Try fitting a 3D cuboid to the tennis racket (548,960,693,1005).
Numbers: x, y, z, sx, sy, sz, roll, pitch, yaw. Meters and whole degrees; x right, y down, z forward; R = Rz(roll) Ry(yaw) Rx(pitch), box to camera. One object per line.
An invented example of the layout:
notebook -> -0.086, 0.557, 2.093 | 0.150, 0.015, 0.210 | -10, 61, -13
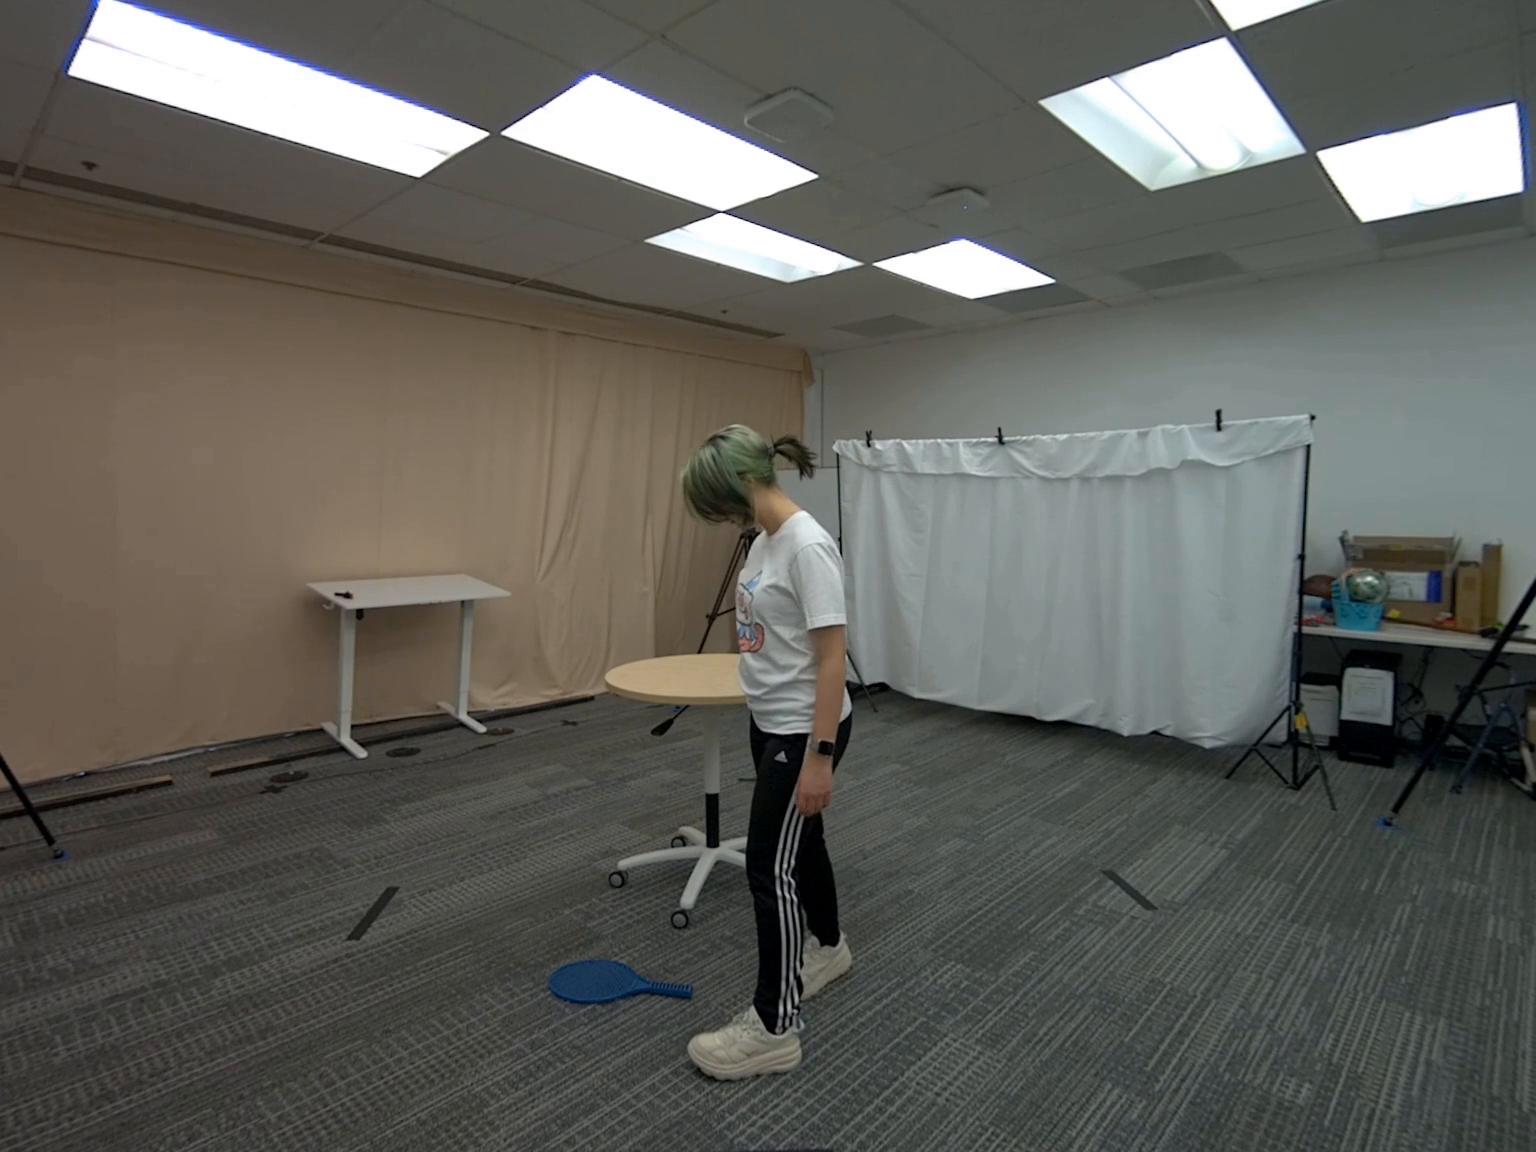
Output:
tennis racket -> -0.427, 1.176, 2.437 | 0.439, 0.032, 0.211 | -1, 4, 13
